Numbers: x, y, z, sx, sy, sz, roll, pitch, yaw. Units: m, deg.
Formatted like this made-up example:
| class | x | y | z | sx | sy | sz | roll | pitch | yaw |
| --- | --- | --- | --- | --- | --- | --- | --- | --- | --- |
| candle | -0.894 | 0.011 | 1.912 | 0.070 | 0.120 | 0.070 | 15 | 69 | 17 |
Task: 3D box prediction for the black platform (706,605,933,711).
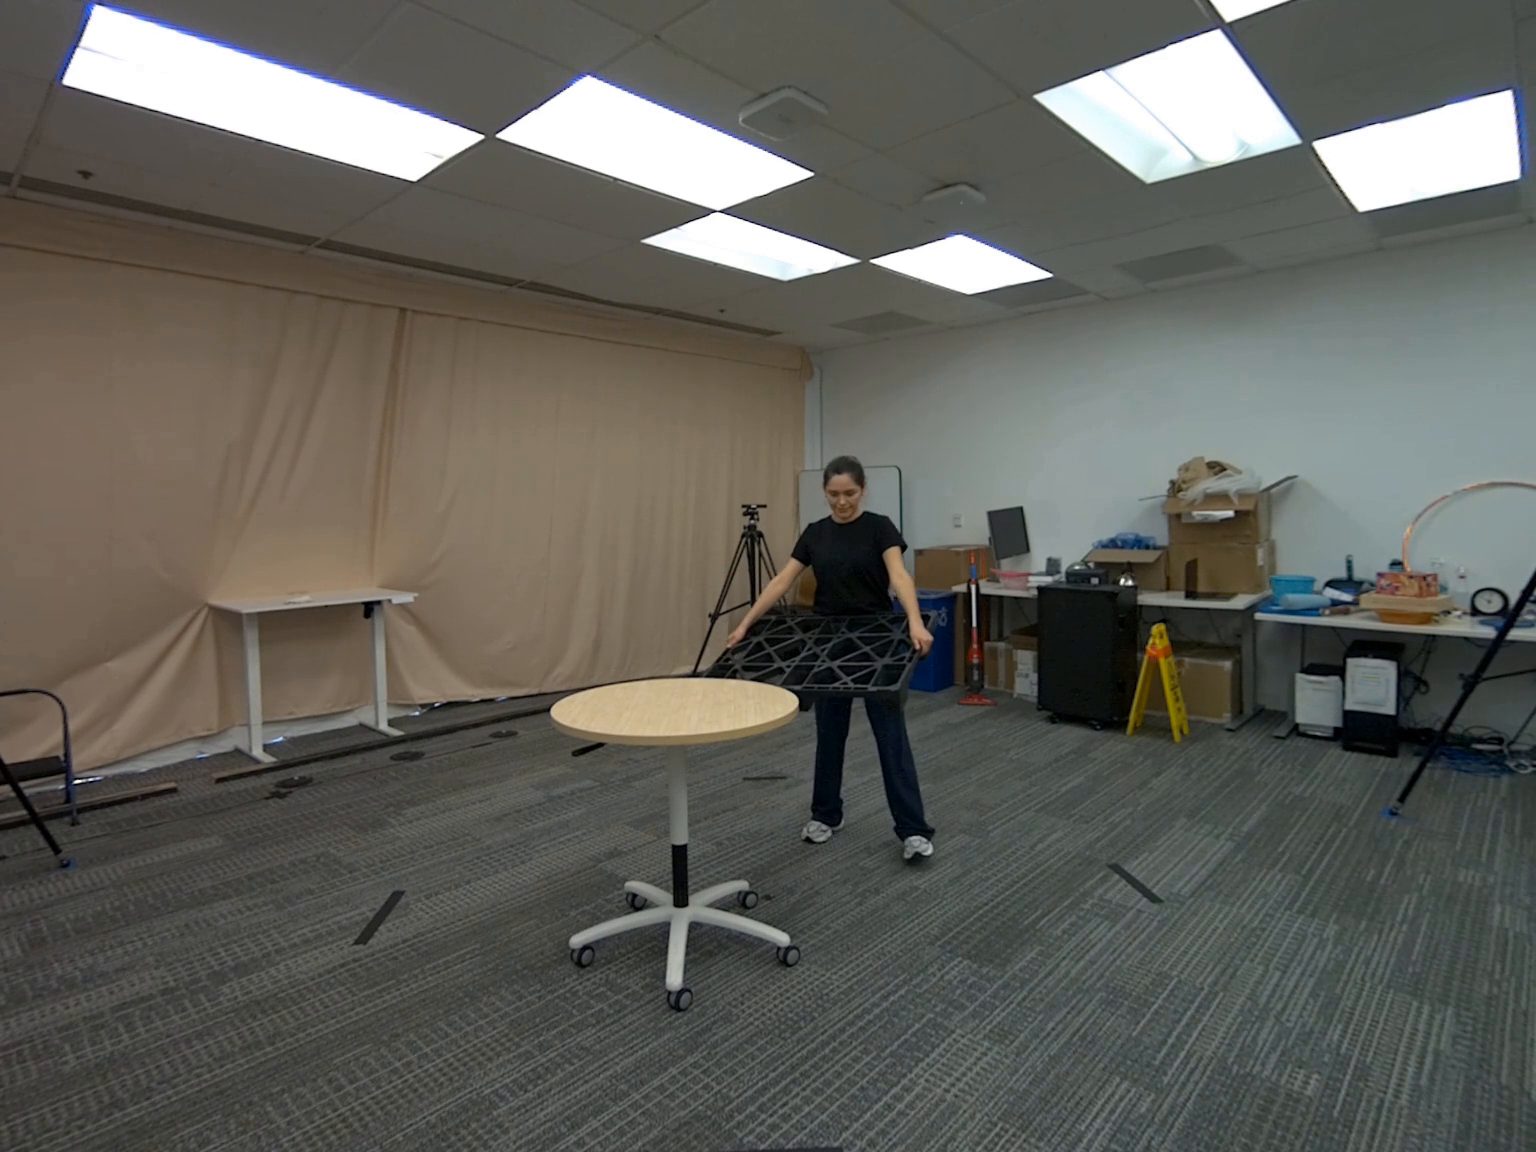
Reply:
| class | x | y | z | sx | sy | sz | roll | pitch | yaw |
| --- | --- | --- | --- | --- | --- | --- | --- | --- | --- |
| black platform | 0.216 | 0.331 | 3.210 | 0.826 | 0.141 | 0.599 | -3 | 22 | 27 |
